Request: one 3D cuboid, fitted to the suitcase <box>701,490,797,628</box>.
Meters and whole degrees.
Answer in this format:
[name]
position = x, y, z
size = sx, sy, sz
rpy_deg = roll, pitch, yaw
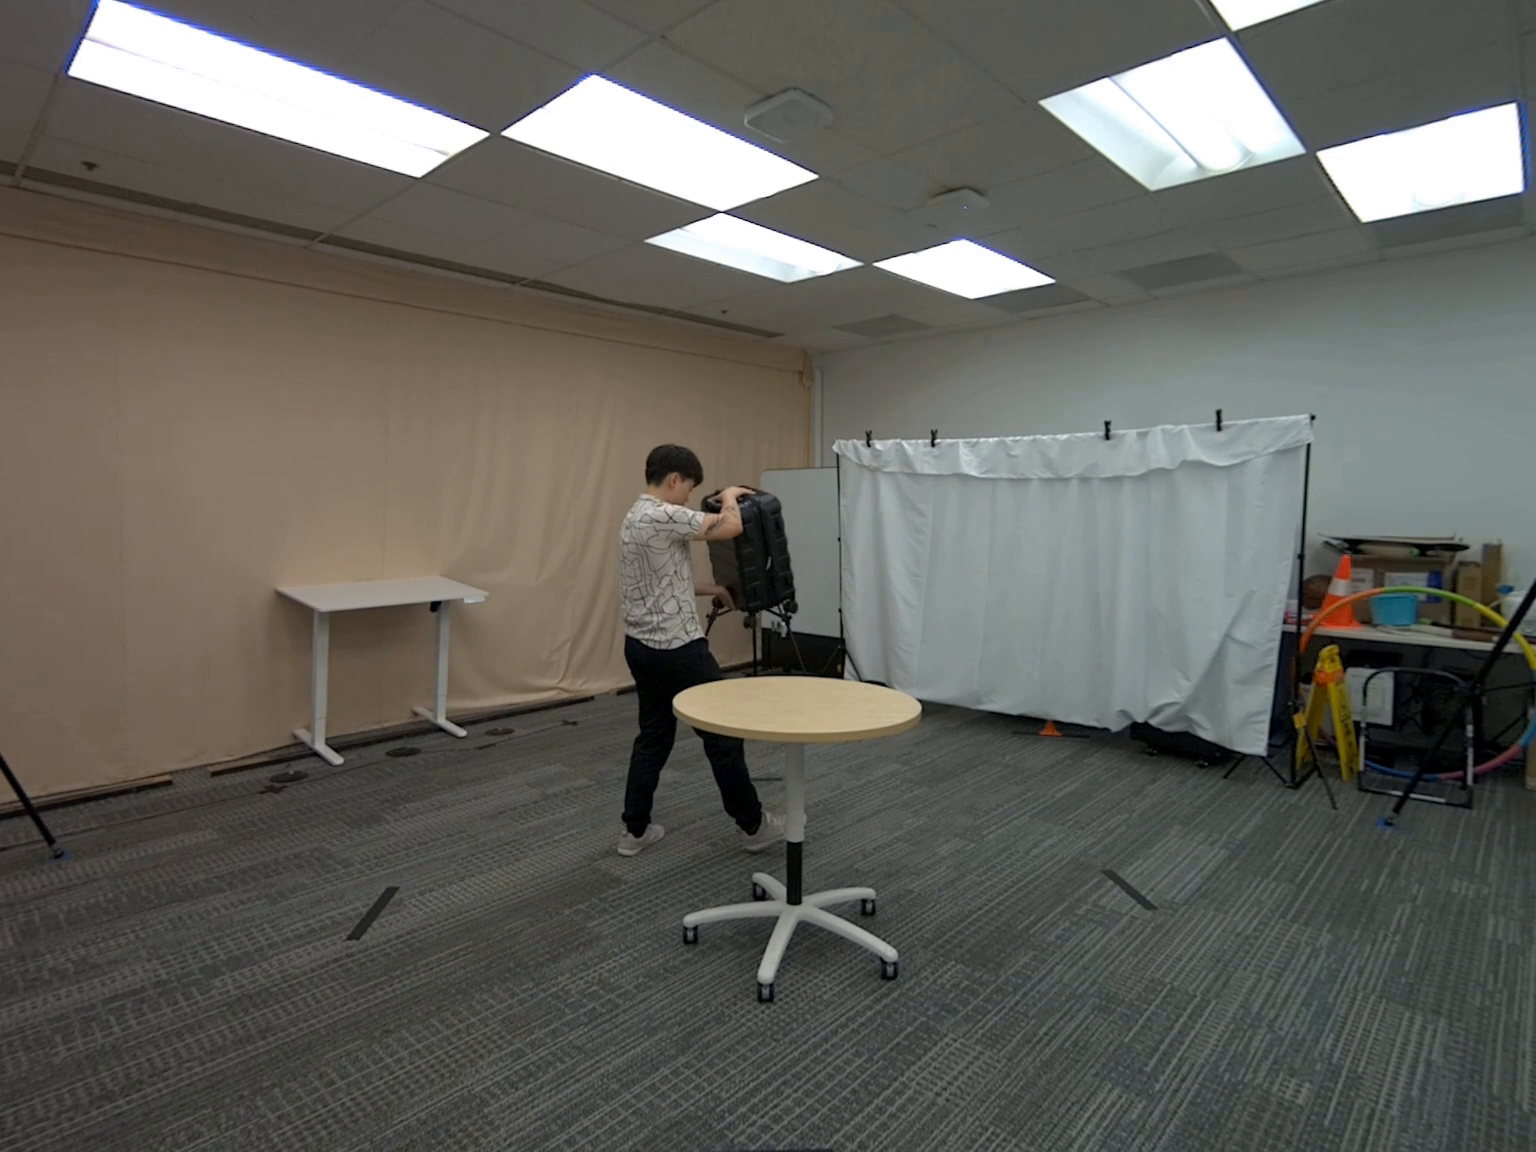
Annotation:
[suitcase]
position = -0.084, -0.112, 3.662
size = 0.244, 0.541, 0.387
rpy_deg = -18, 21, -24
